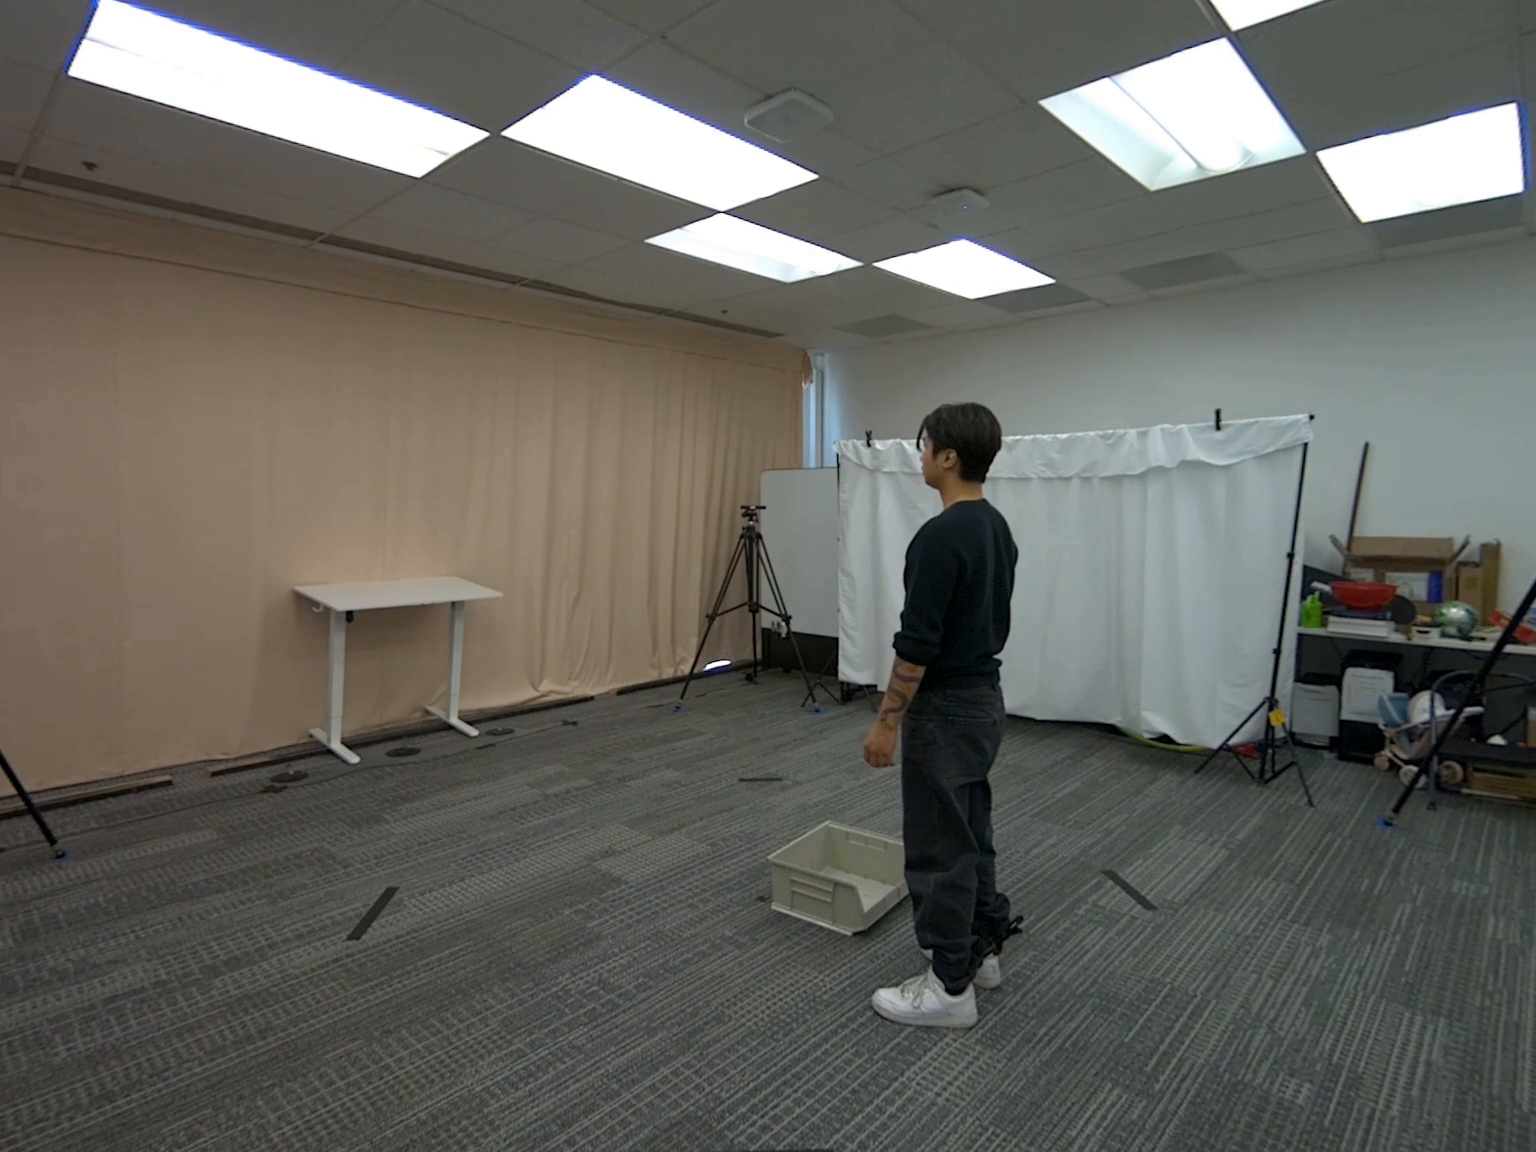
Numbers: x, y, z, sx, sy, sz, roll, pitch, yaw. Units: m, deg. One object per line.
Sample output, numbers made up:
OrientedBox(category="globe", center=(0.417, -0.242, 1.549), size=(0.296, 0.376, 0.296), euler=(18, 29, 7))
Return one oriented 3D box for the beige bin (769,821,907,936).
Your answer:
OrientedBox(category="beige bin", center=(0.272, 1.056, 2.962), size=(0.389, 0.188, 0.410), euler=(2, 5, 35))
